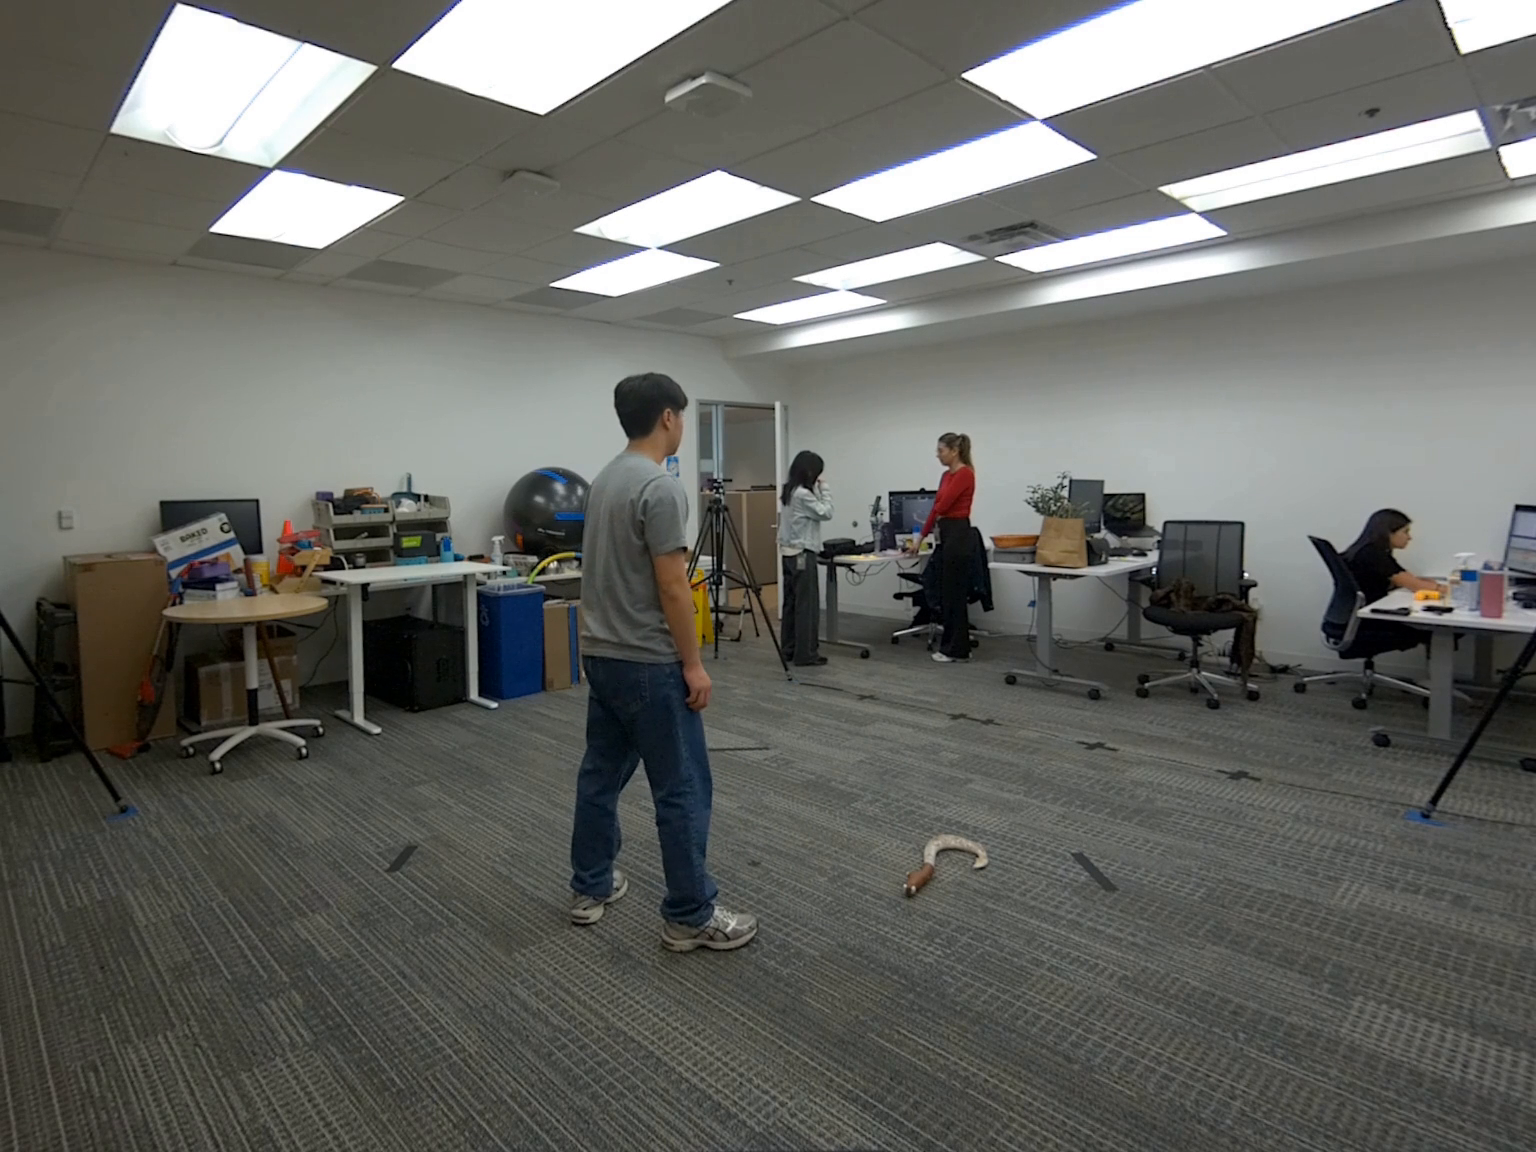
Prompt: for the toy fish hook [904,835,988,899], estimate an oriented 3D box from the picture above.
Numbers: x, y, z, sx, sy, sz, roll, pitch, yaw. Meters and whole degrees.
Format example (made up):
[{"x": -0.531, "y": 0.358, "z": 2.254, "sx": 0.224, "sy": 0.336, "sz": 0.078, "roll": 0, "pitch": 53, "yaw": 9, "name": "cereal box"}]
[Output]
[{"x": 0.630, "y": 1.021, "z": 3.006, "sx": 0.230, "sy": 0.048, "sz": 0.496, "roll": 1, "pitch": 7, "yaw": 30, "name": "toy fish hook"}]
